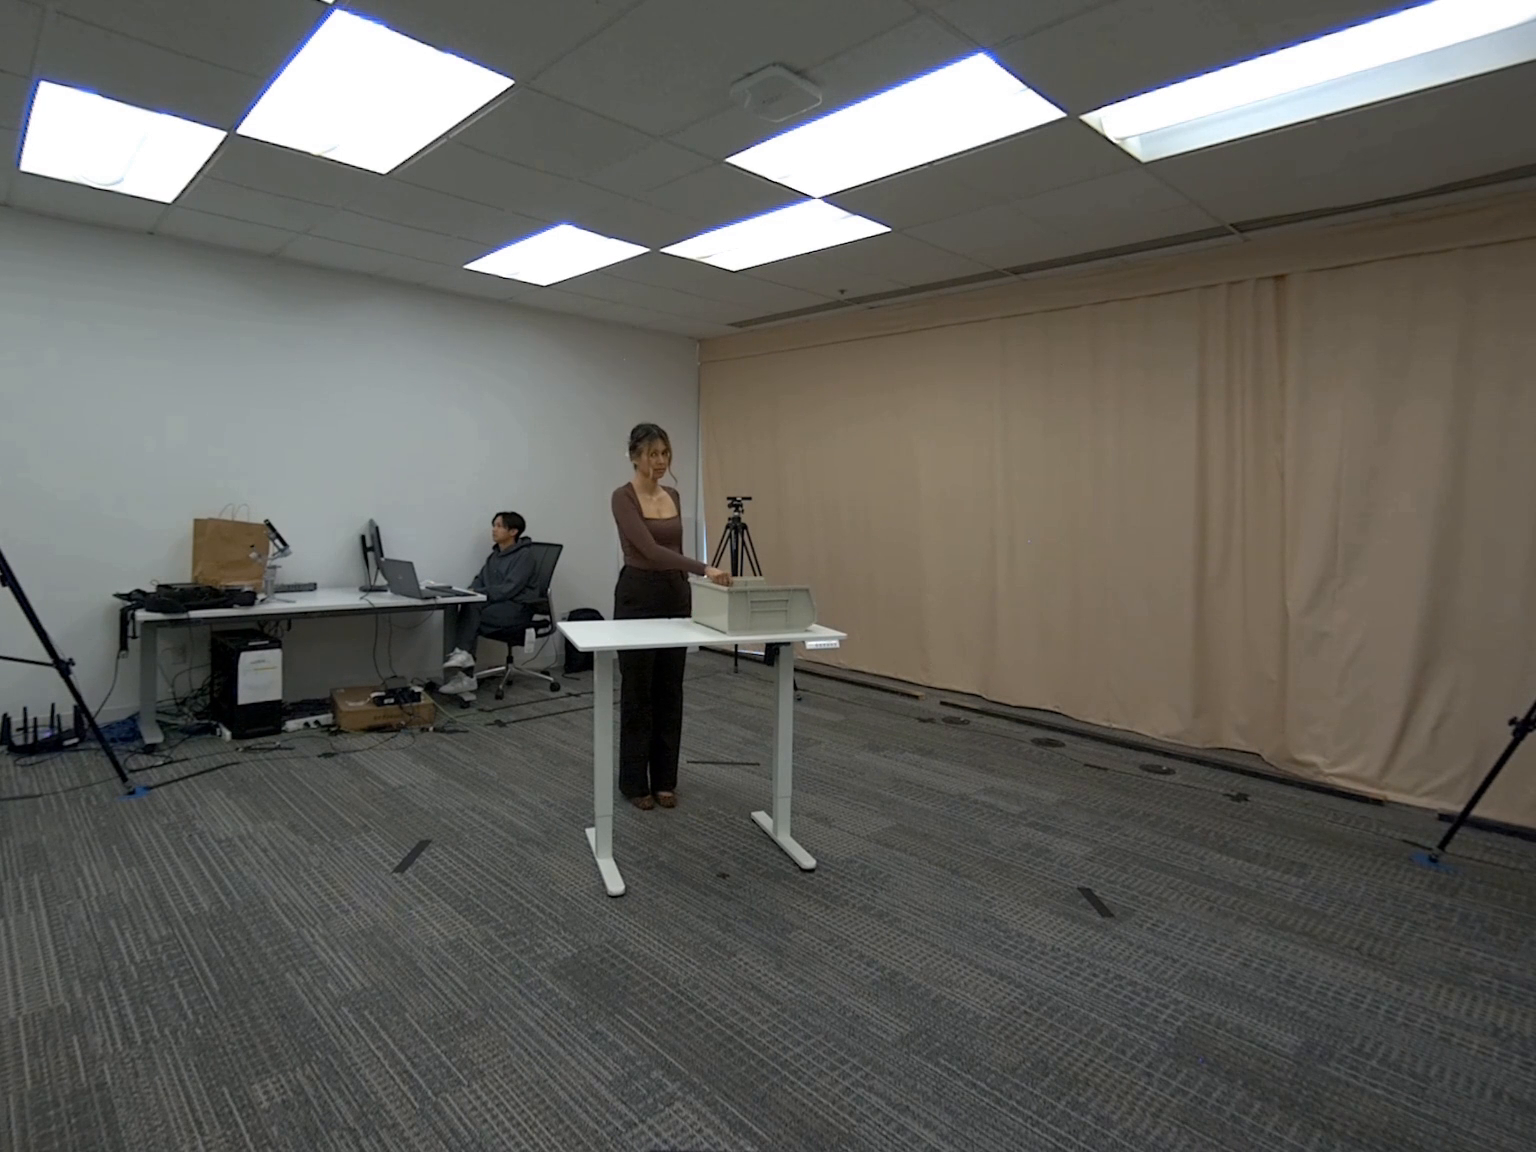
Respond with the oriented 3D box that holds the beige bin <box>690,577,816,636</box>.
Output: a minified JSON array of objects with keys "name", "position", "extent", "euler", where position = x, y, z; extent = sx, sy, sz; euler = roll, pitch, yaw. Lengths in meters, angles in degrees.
[{"name":"beige bin","position":[-0.074,0.113,3.334],"extent":[0.371,0.188,0.431],"euler":[-2,6,-25]}]
